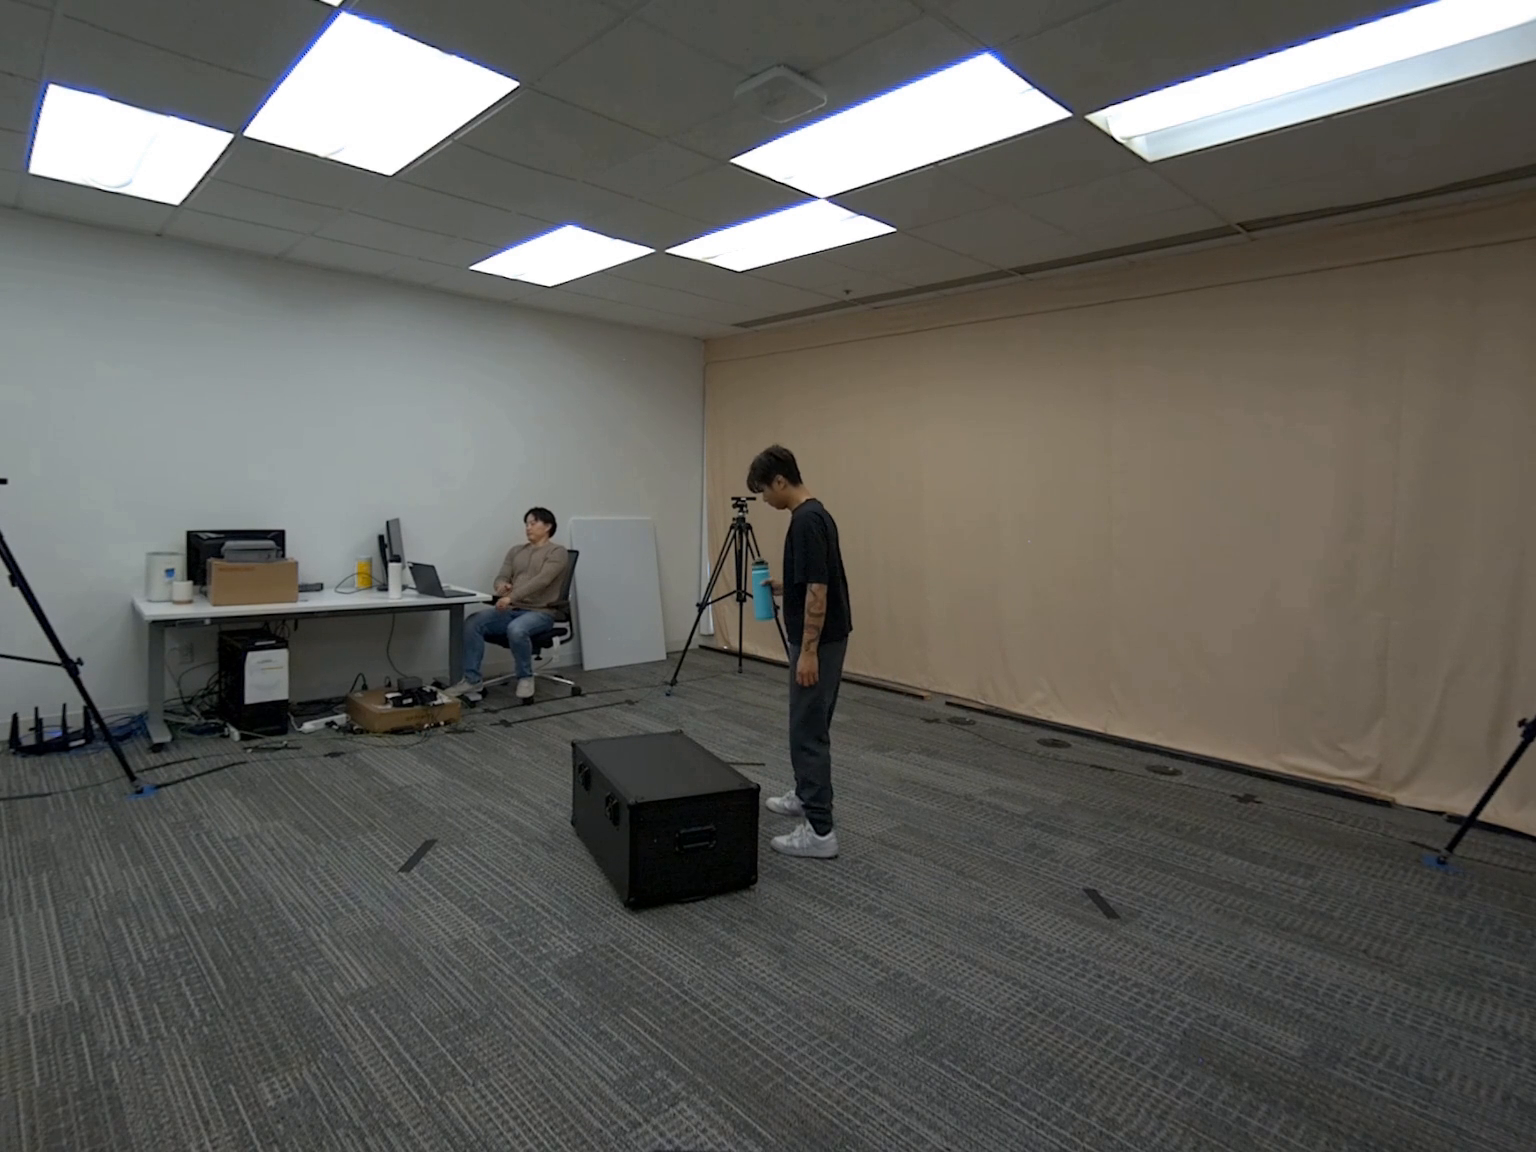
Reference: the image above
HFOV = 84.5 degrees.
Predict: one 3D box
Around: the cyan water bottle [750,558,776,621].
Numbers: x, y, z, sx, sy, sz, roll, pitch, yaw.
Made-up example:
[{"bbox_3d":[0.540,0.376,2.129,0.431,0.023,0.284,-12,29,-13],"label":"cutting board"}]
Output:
[{"bbox_3d":[-0.030,0.059,3.843,0.092,0.284,0.092,-6,-4,-2],"label":"cyan water bottle"}]
